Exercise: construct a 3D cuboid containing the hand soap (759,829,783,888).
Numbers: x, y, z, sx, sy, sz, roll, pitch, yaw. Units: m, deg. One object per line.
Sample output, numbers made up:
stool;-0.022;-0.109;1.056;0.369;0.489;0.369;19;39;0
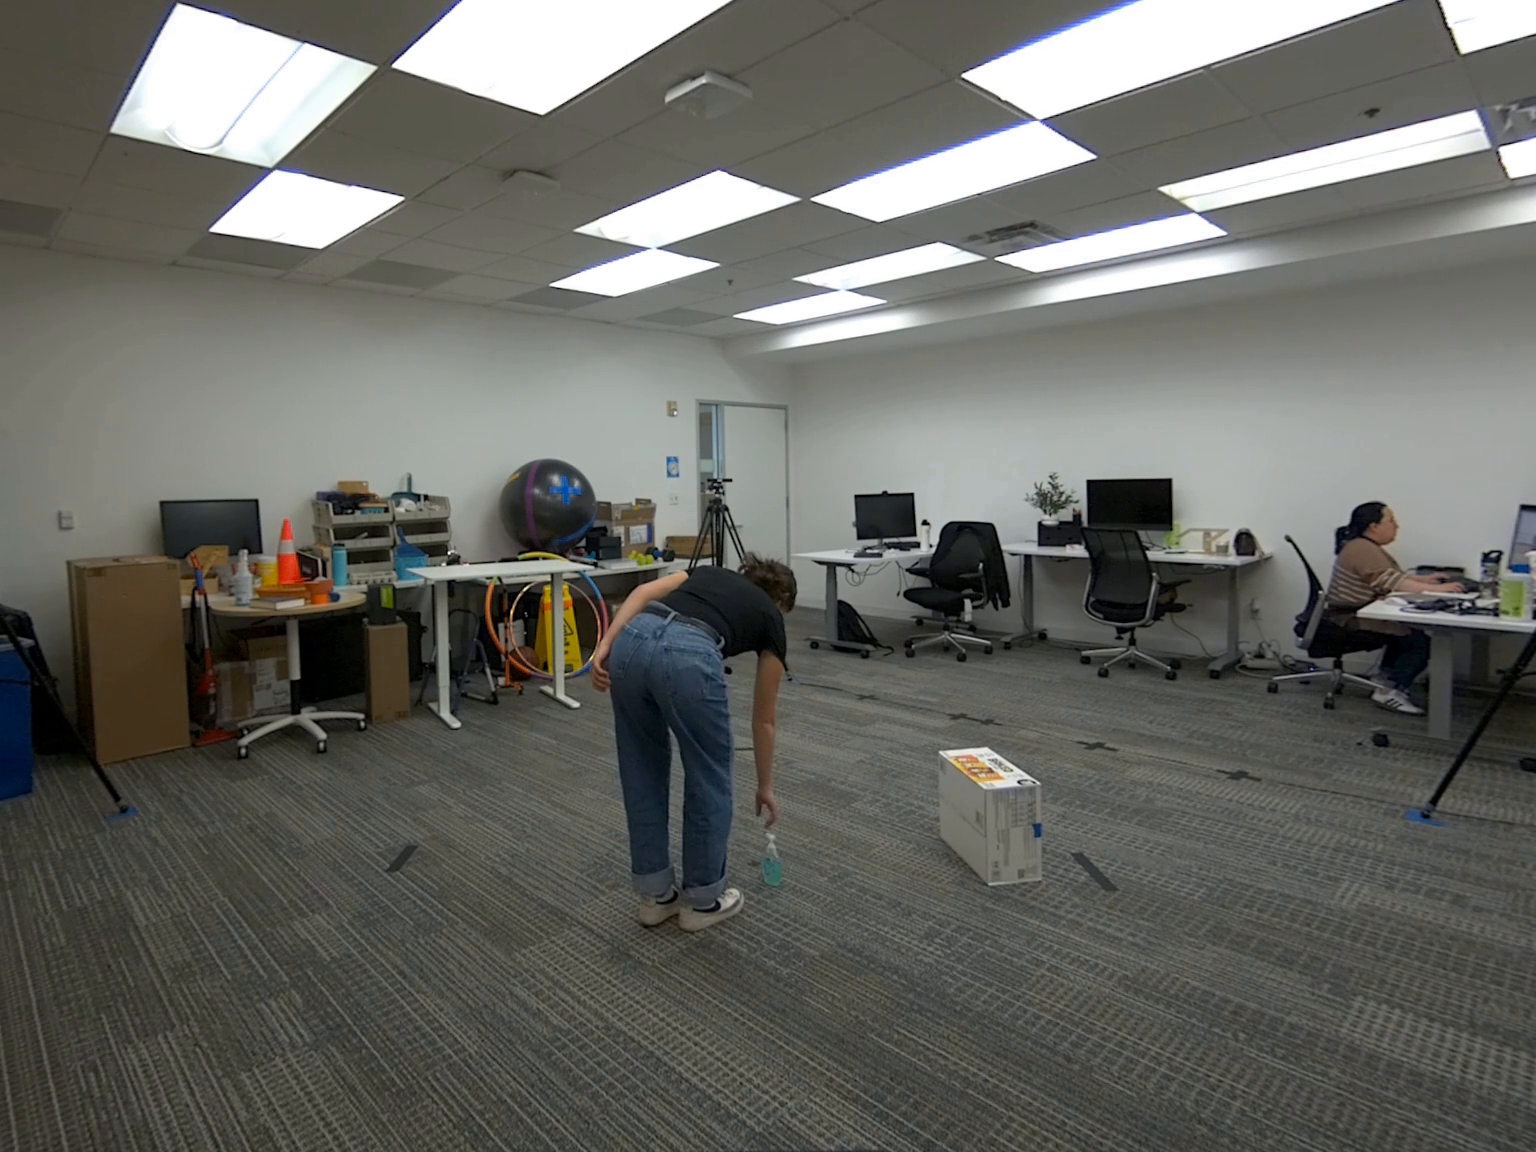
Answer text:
hand soap;0.021;0.983;2.951;0.042;0.167;0.087;-8;10;-38
